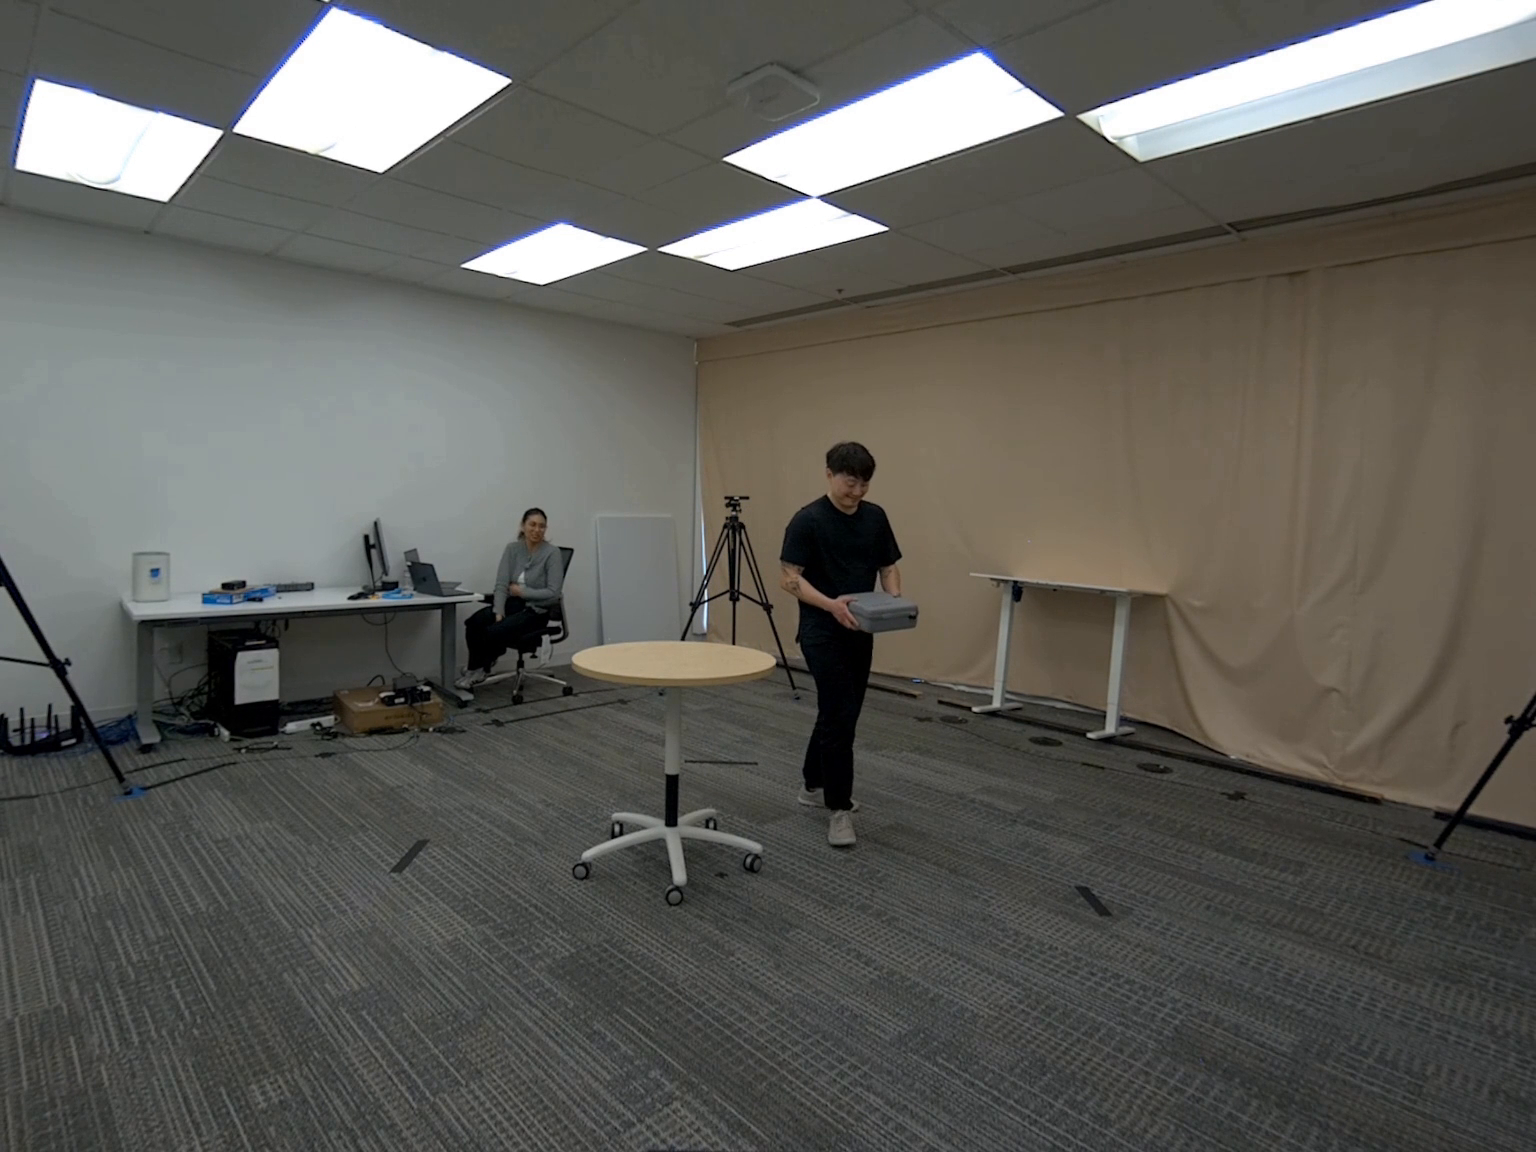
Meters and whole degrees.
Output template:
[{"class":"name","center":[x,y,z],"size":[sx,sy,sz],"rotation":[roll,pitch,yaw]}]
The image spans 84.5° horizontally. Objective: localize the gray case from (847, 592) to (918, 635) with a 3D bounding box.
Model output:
[{"class":"gray case","center":[0.431,0.147,3.438],"size":[0.253,0.103,0.266],"rotation":[-3,13,-19]}]
